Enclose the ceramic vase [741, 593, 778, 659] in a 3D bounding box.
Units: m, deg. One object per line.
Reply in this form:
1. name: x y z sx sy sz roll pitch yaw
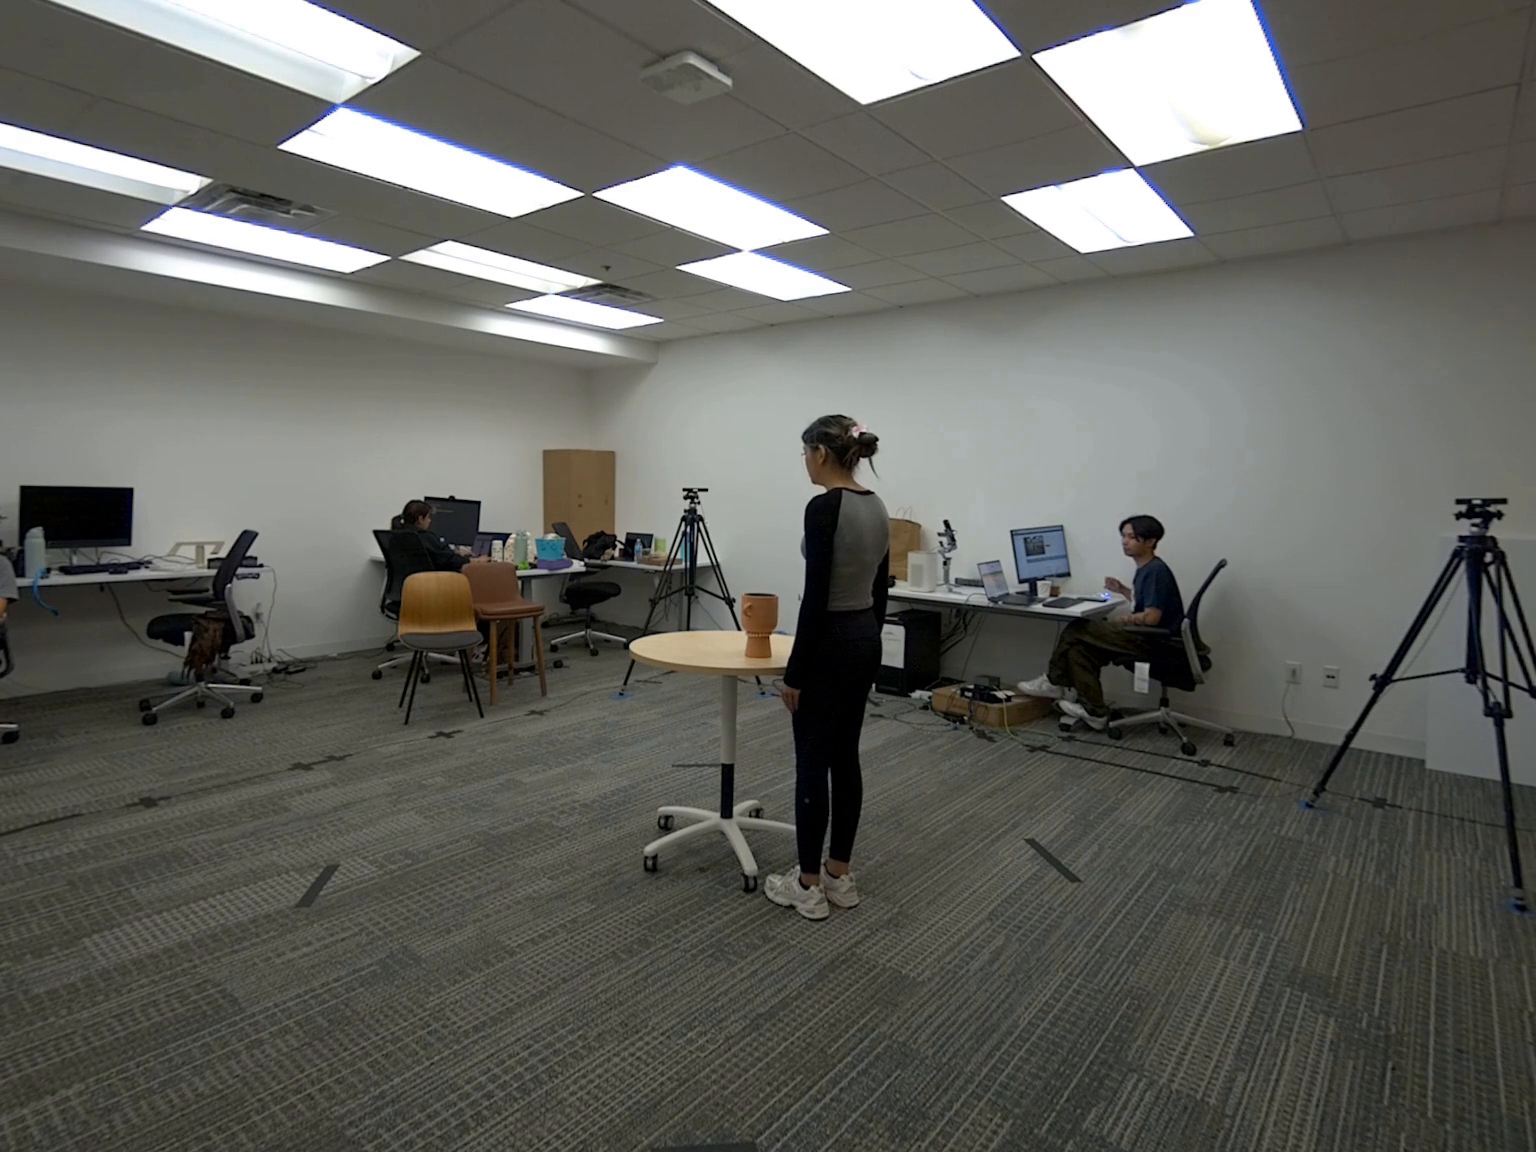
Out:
1. ceramic vase: -0.038 0.178 3.060 0.156 0.219 0.137 1 3 -14
